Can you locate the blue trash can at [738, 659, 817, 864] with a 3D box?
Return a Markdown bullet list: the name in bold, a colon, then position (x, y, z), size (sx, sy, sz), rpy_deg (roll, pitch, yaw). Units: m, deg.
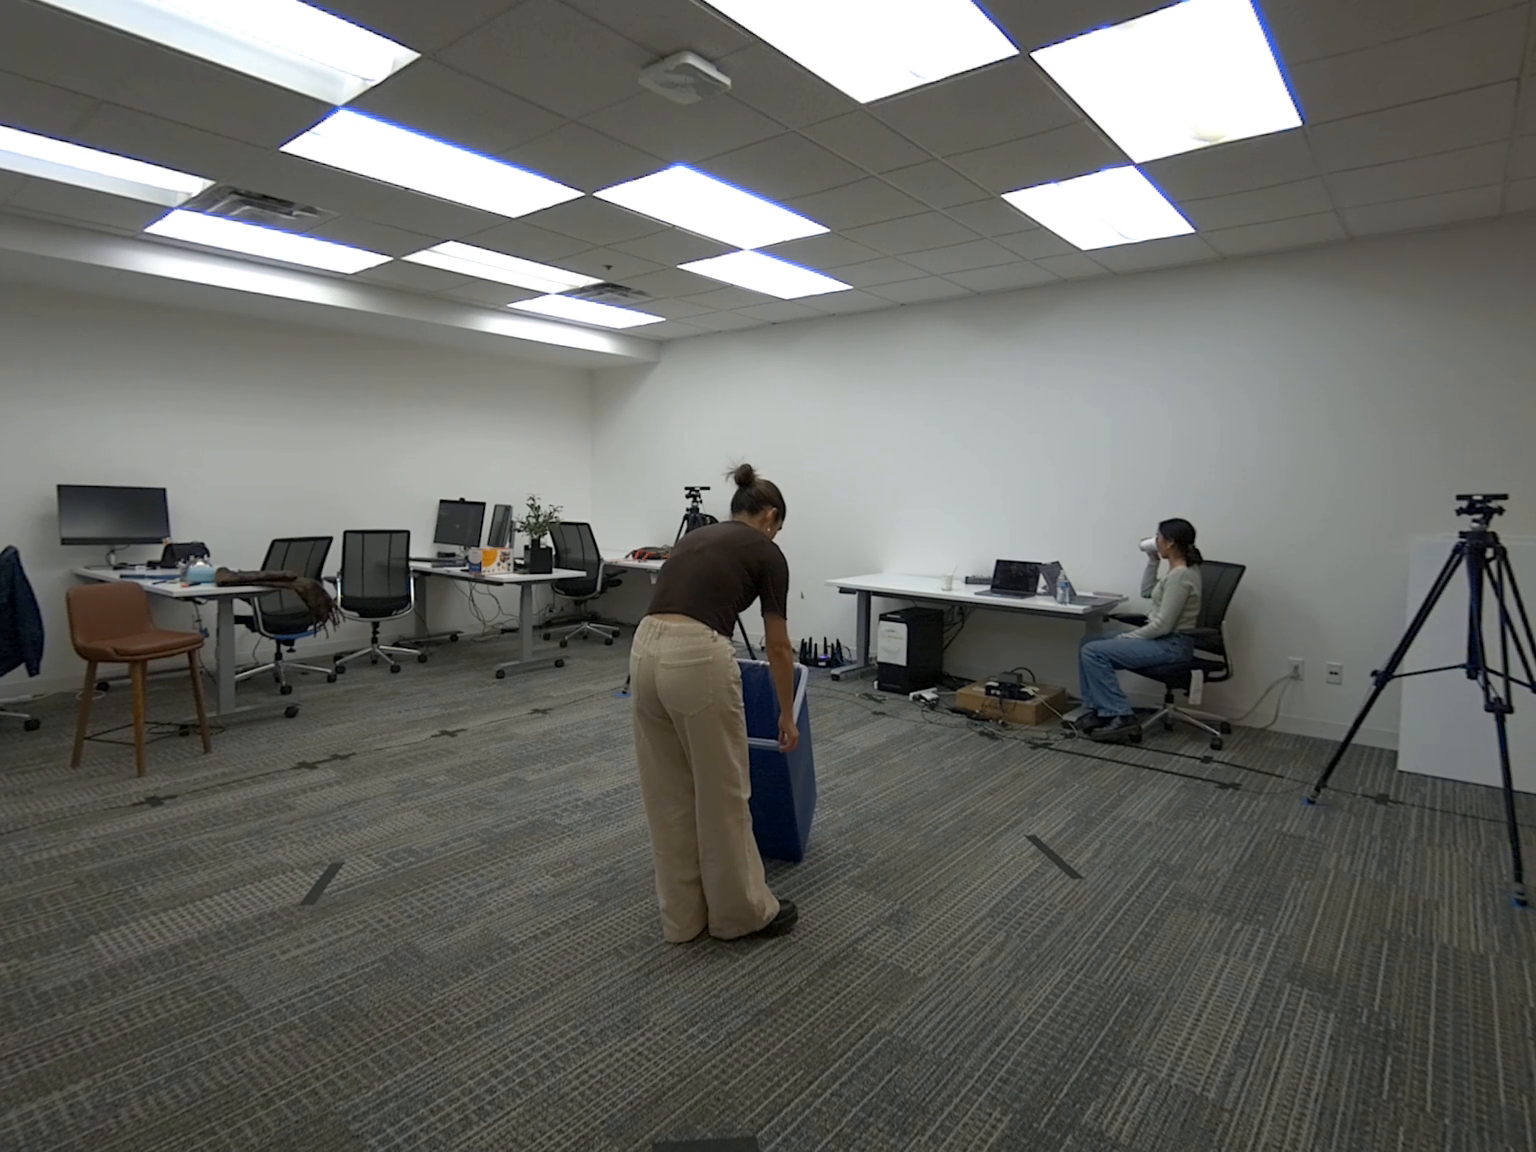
- **blue trash can**: position (-0.031, 0.690, 3.116), size (0.385, 0.691, 0.379), rpy_deg (3, 37, 17)
